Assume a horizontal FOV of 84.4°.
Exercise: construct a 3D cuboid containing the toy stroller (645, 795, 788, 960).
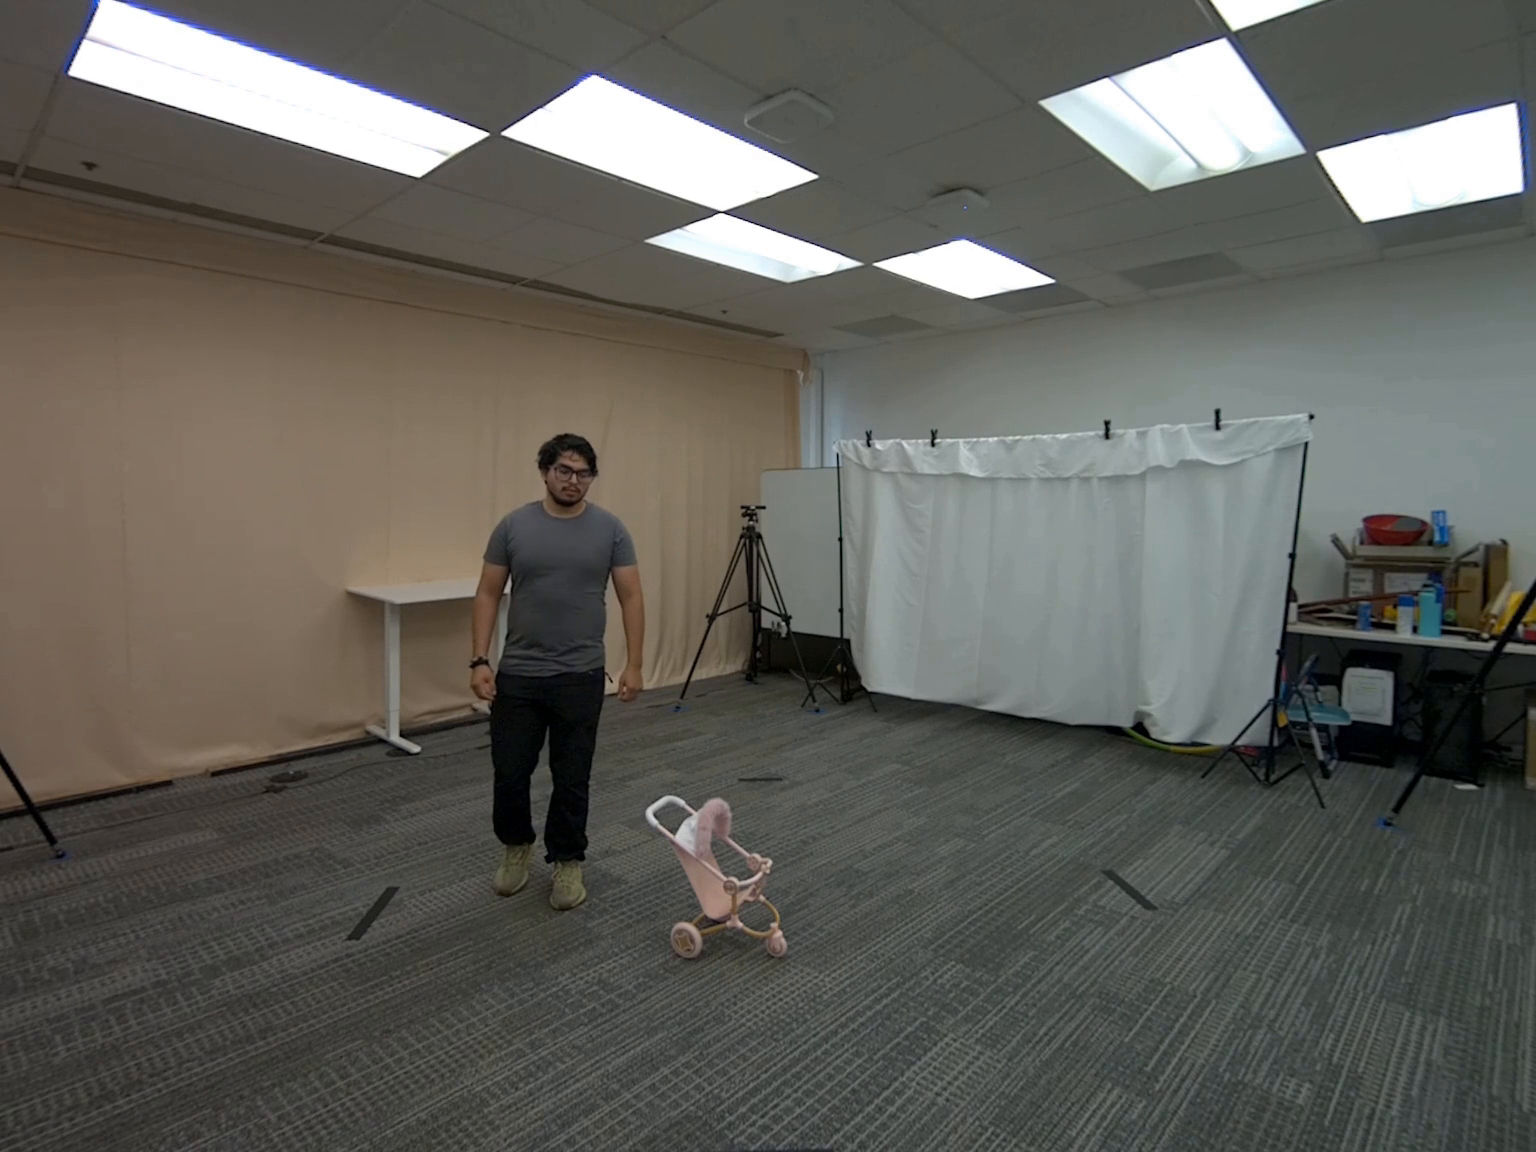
[{"bbox_3d":[-0.147,0.952,2.665,0.348,0.537,0.274,-18,-5,28],"label":"toy stroller"}]
